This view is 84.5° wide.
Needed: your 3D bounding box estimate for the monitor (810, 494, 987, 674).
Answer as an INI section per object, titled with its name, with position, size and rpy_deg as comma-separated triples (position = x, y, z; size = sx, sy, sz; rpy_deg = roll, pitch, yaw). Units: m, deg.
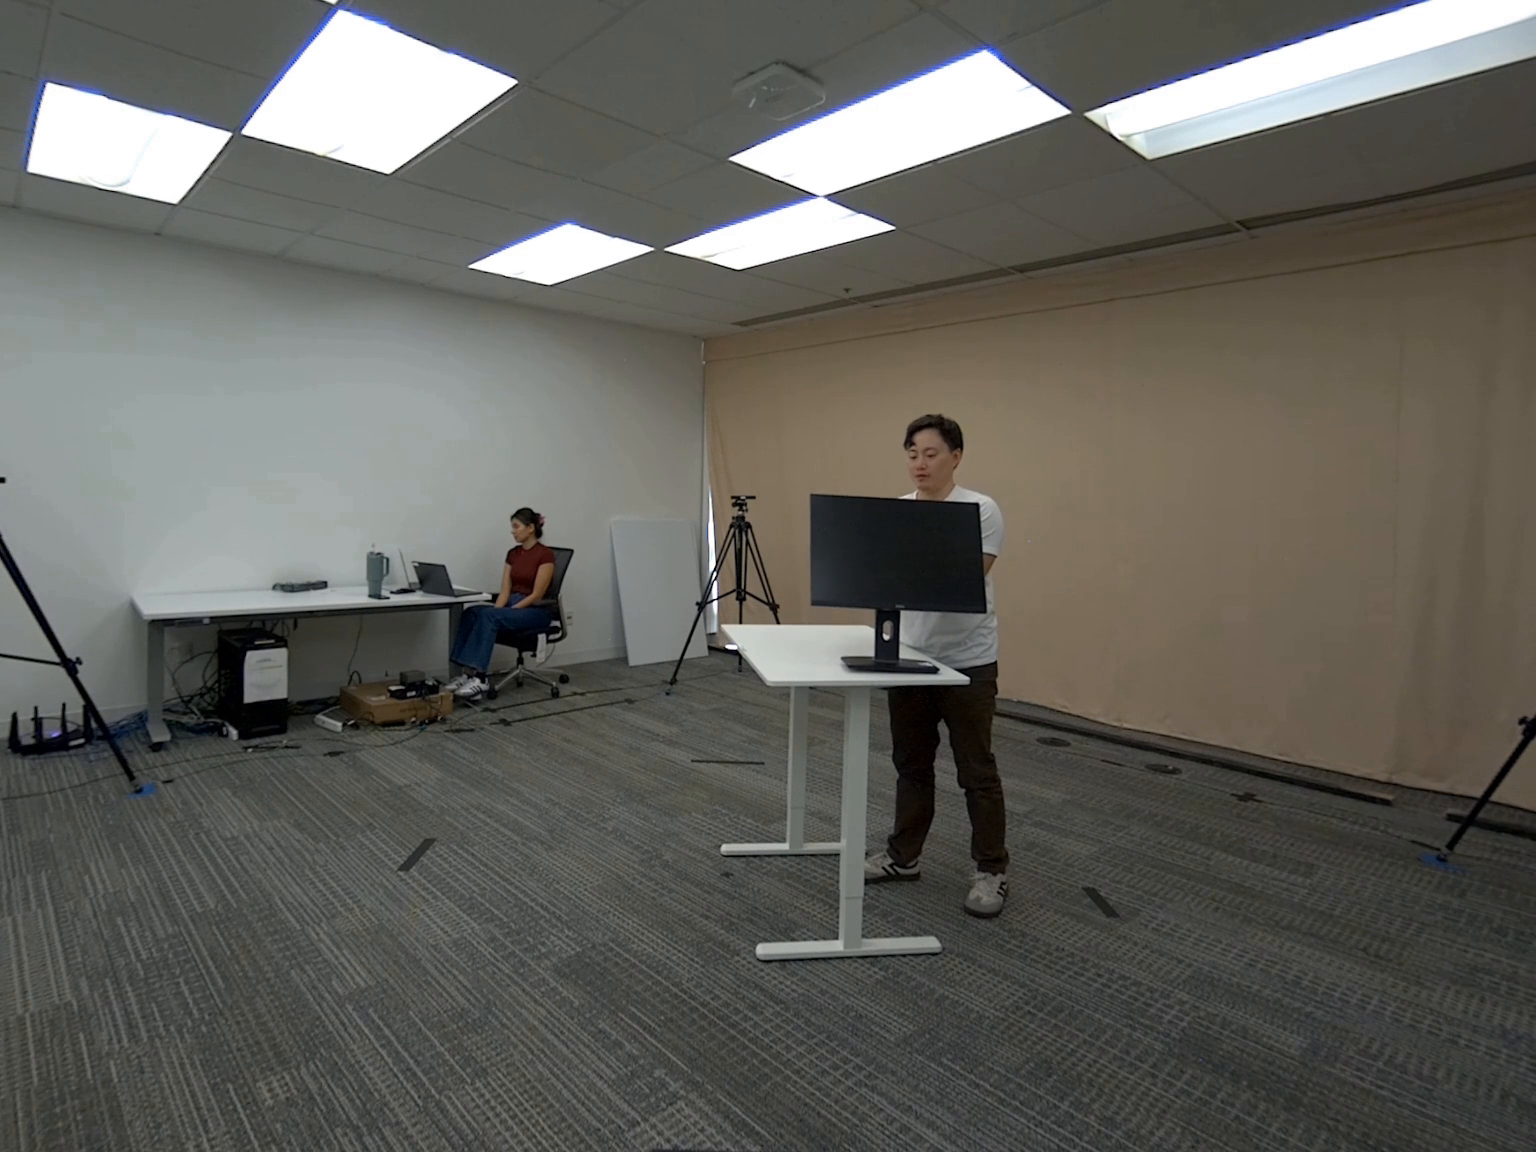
[monitor]
position = 0.378, 0.027, 2.580
size = 0.536, 0.523, 0.188
rpy_deg = 2, -1, -6
